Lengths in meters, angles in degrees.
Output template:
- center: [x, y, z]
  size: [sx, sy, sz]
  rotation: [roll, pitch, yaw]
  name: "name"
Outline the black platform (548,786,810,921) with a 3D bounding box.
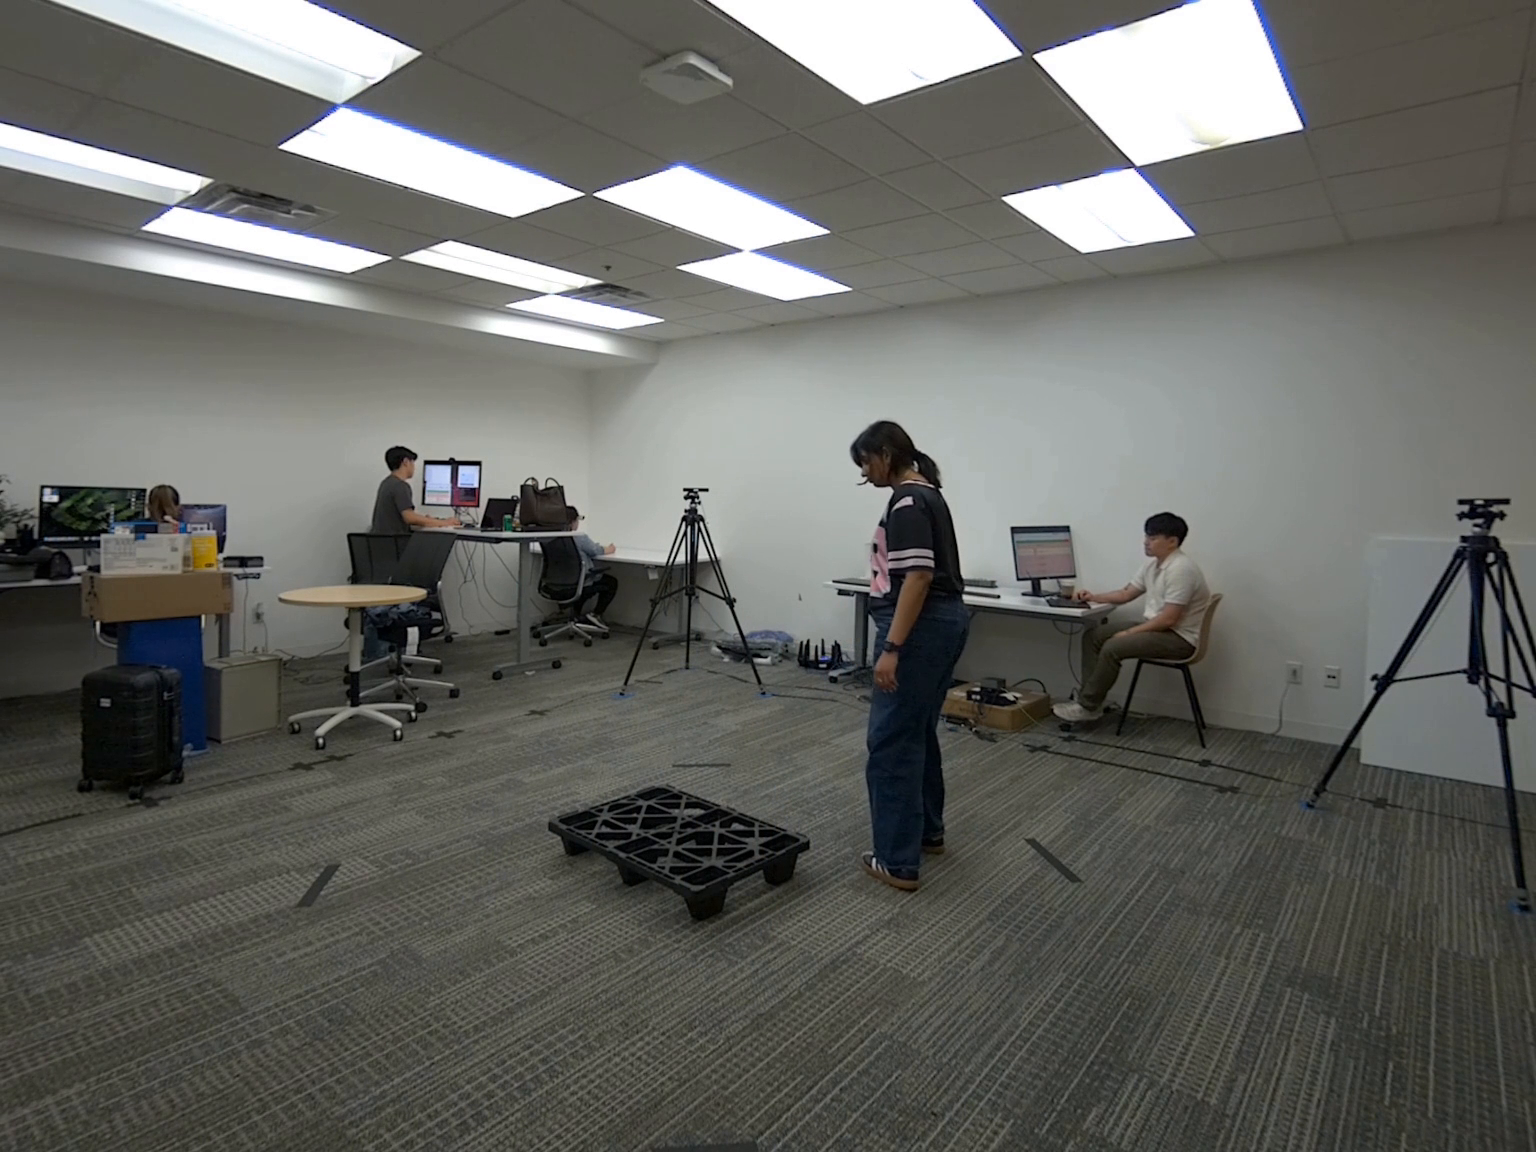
- center: [-0.348, 0.998, 3.147]
  size: [0.833, 0.143, 0.587]
  rotation: [6, 7, 42]
  name: "black platform"
